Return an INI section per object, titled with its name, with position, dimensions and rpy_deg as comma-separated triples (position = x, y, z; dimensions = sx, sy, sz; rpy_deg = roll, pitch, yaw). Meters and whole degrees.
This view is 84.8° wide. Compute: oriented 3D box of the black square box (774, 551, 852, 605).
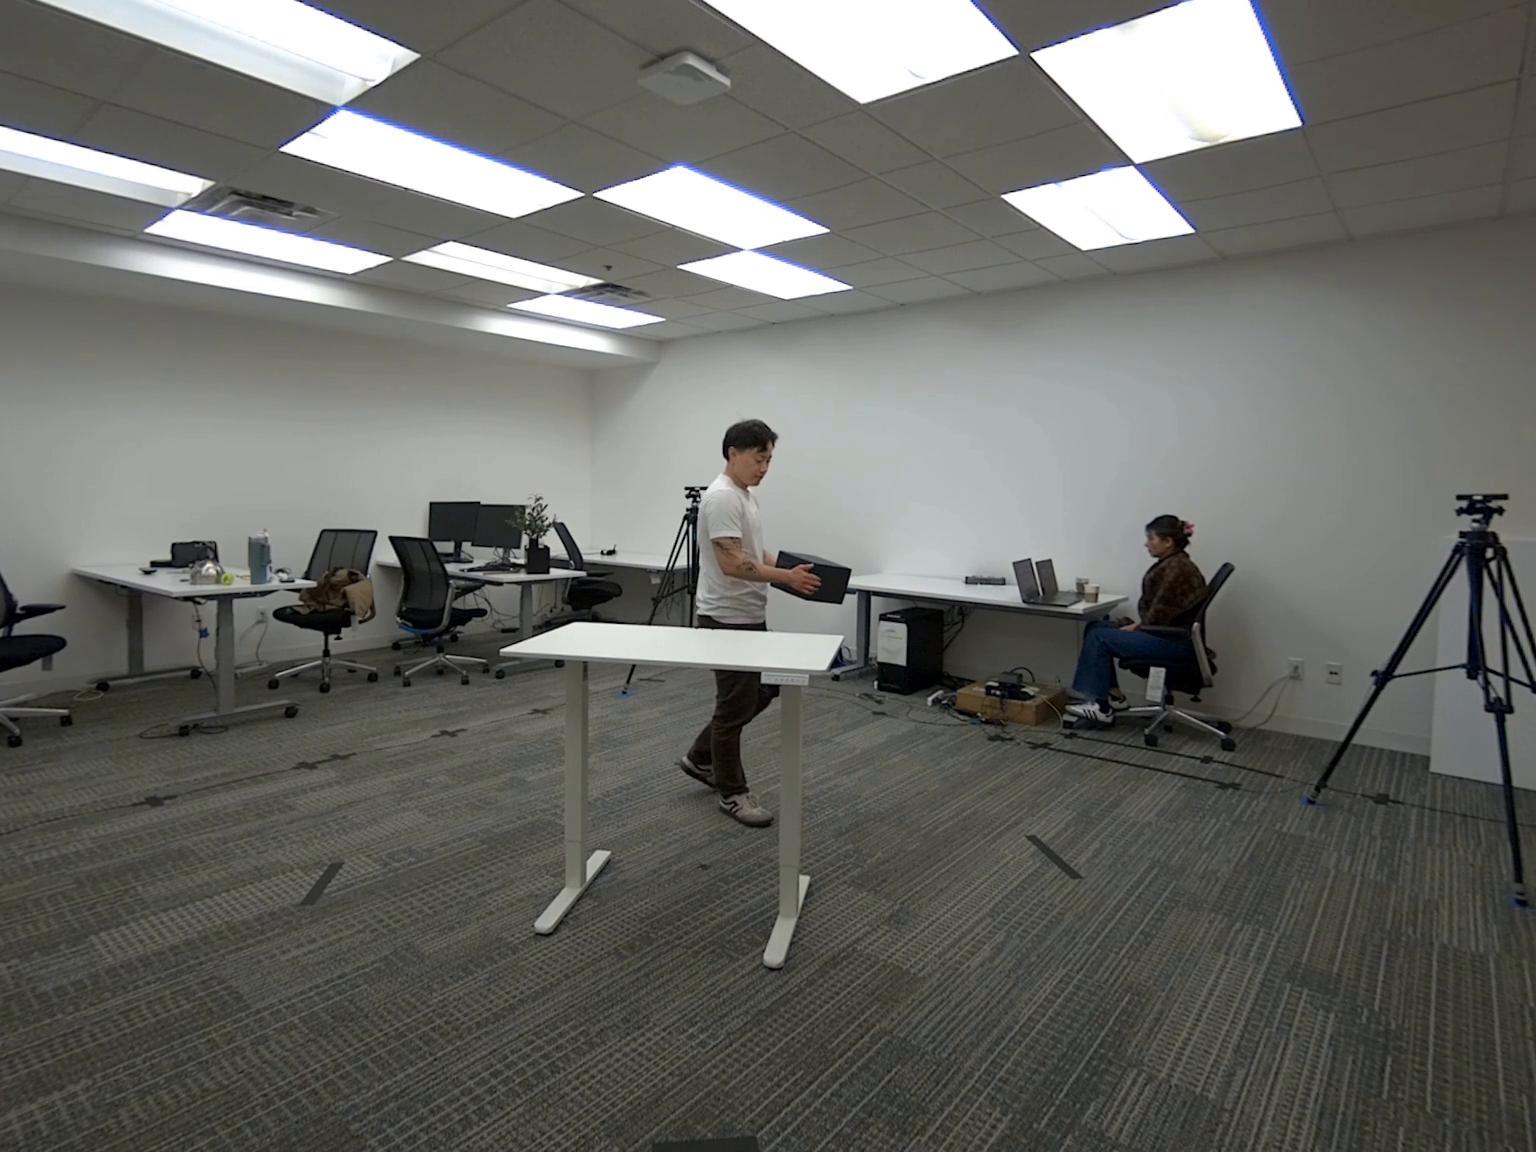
[black square box]
position = 0.167, 0.007, 3.519
dimensions = 0.220, 0.155, 0.226
rpy_deg = 7, 9, -42
